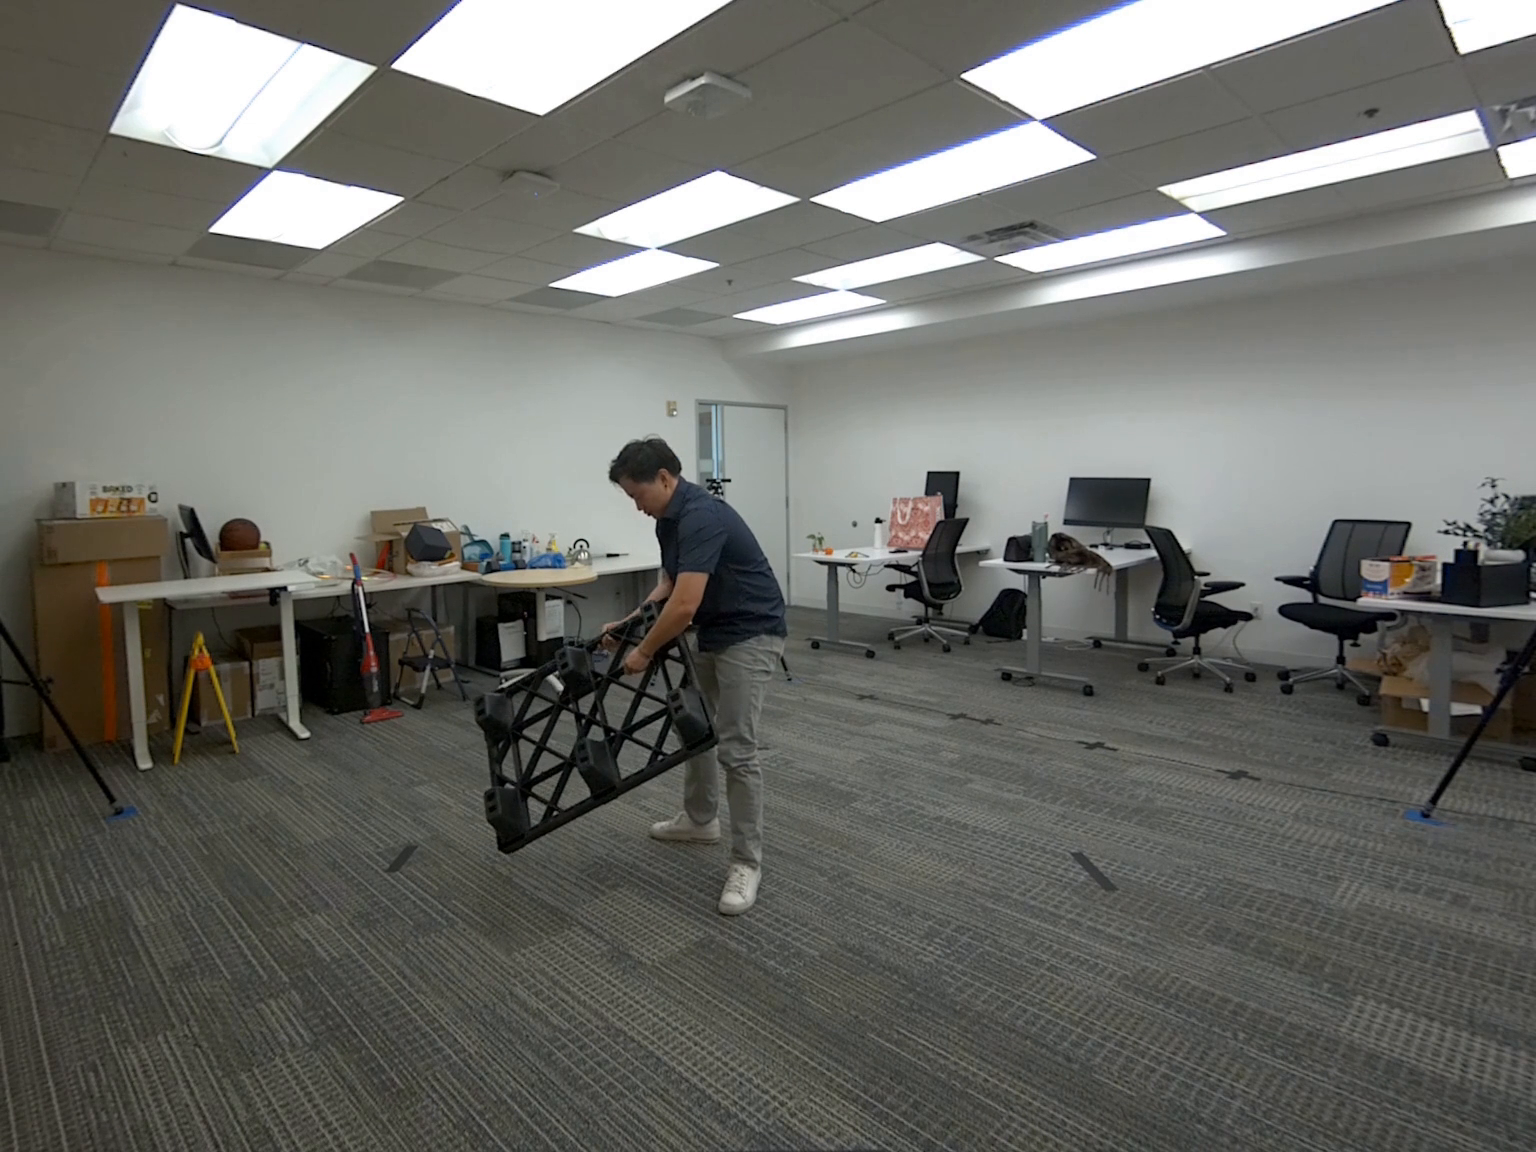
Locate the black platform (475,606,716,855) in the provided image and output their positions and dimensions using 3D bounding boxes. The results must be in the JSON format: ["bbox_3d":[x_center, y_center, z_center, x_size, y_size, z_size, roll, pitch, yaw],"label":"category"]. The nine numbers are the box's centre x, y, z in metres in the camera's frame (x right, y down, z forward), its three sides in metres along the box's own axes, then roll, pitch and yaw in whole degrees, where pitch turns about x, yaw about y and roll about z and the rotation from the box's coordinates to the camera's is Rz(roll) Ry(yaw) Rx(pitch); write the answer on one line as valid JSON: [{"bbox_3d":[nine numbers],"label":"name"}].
[{"bbox_3d":[-0.608,0.462,2.823,0.808,0.627,0.138,-29,-41,7],"label":"black platform"}]
